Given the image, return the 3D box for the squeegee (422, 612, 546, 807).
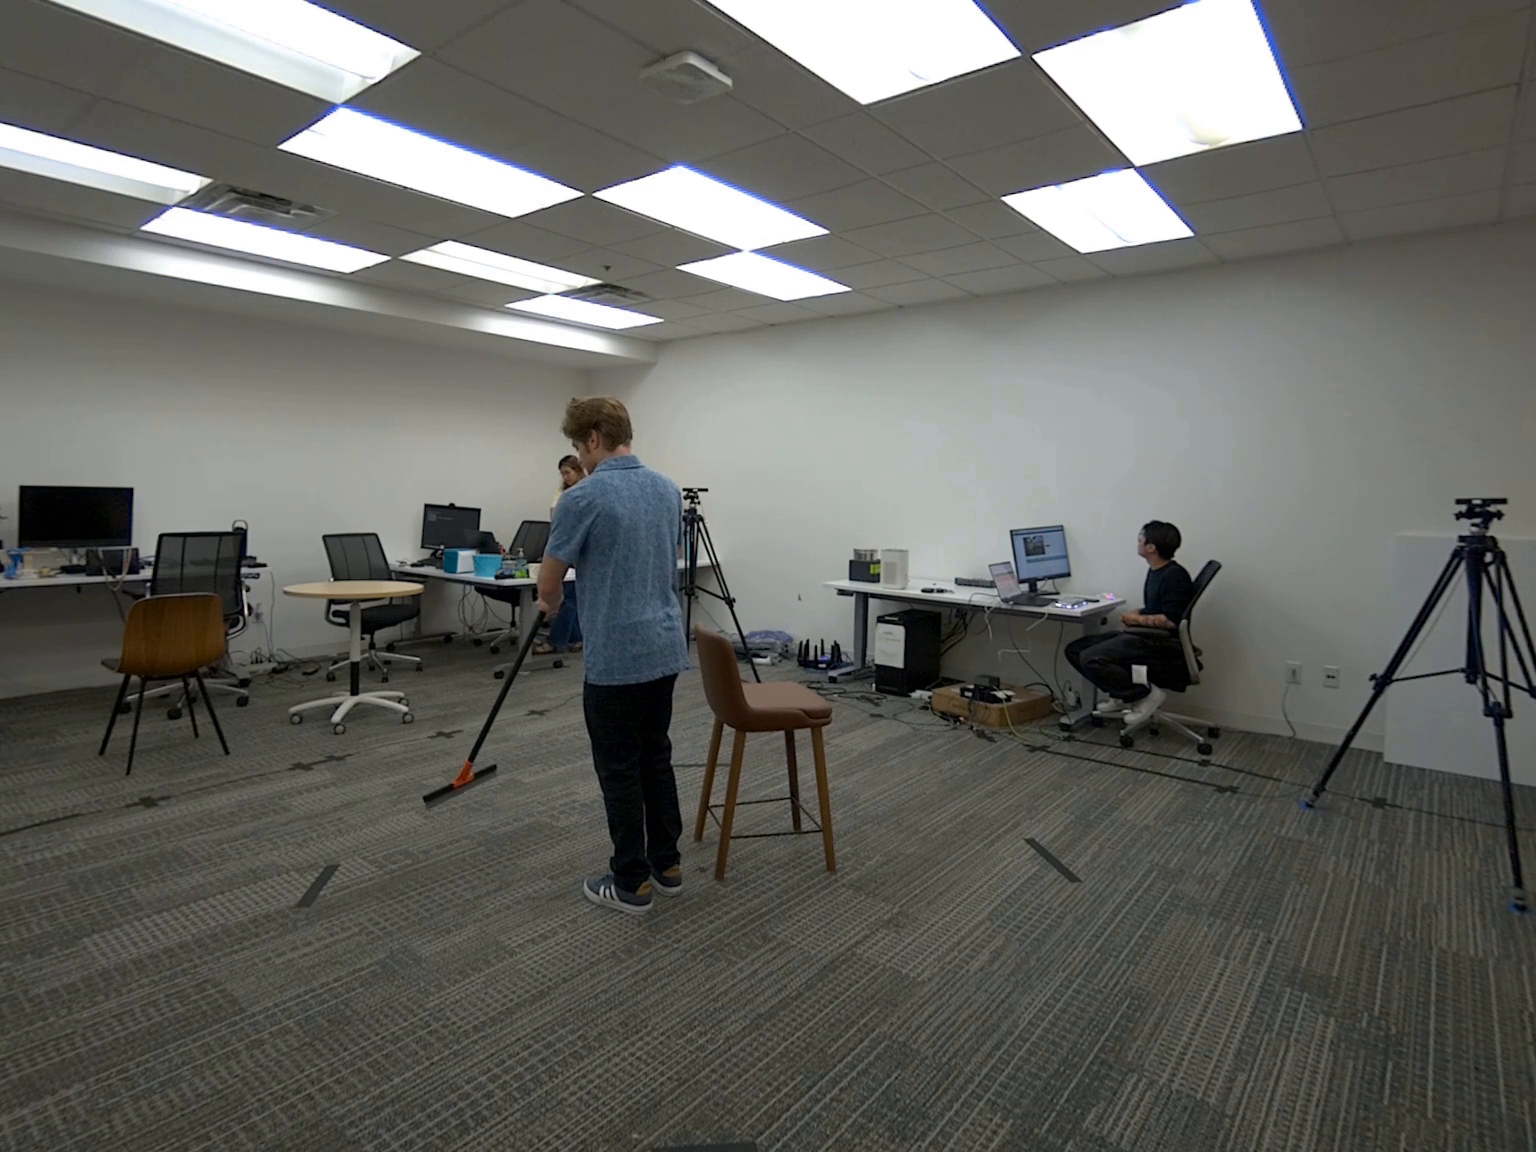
[{"bbox_3d":[-0.885,0.168,3.130,0.054,1.531,0.430,29,10,13],"label":"squeegee"}]
